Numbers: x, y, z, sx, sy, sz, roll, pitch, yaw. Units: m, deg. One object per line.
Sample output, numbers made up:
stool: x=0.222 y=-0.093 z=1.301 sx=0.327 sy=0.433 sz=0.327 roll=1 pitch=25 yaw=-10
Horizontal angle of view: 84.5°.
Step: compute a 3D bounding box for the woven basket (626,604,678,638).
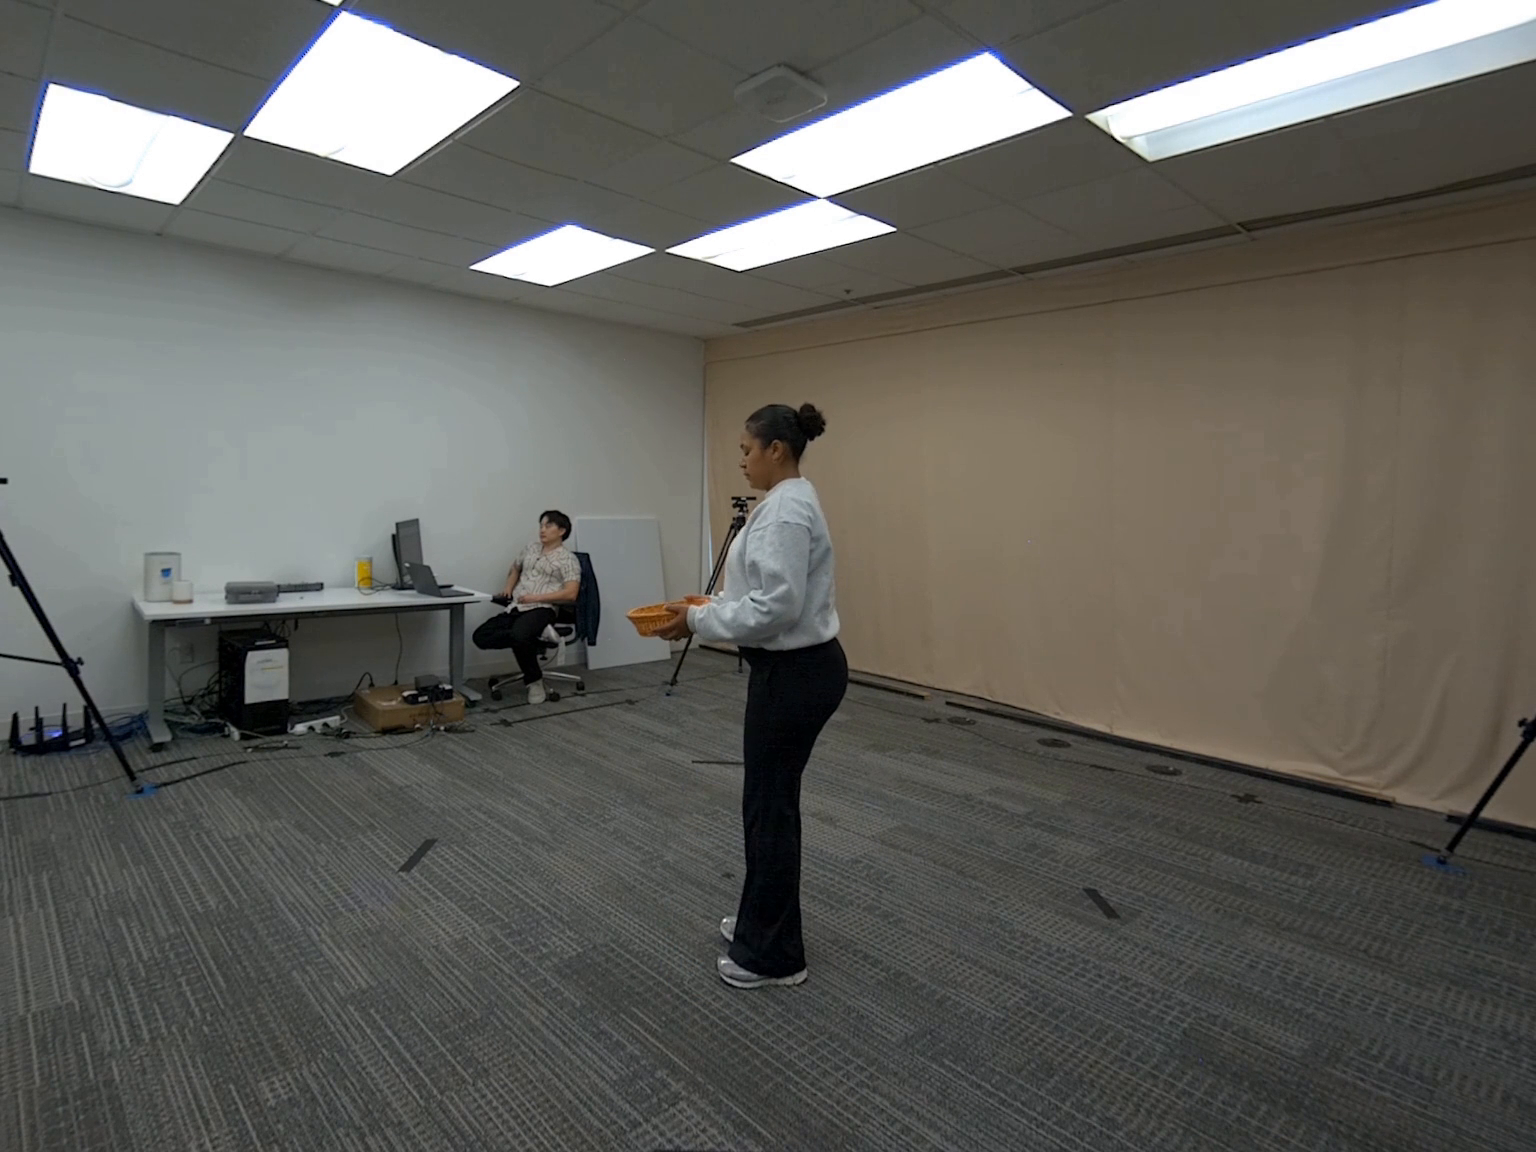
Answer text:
woven basket: x=-0.283 y=0.142 z=2.537 sx=0.250 sy=0.073 sz=0.353 roll=-6 pitch=3 yaw=-11
